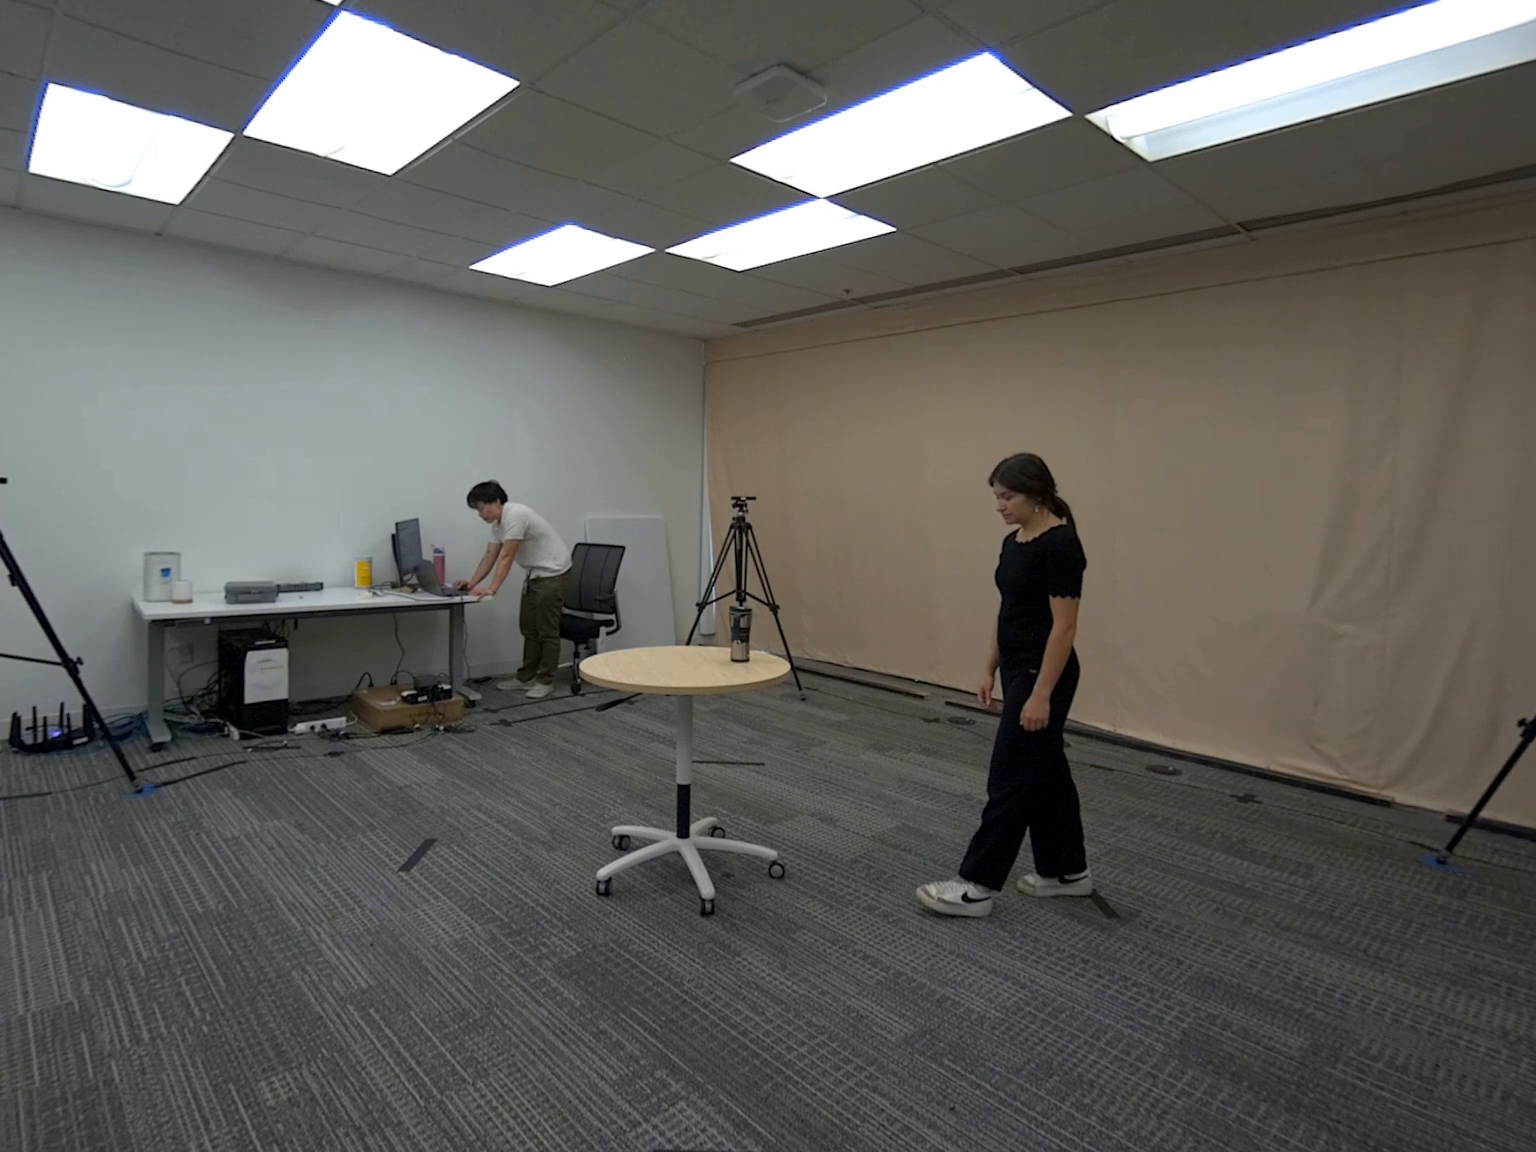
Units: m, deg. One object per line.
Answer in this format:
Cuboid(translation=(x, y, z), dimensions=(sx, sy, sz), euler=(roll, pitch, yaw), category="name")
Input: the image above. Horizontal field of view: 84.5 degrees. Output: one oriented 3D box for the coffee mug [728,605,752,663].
Cuboid(translation=(-0.121, 0.219, 3.123), dimensions=(0.119, 0.202, 0.090), euler=(1, 5, -45), category="coffee mug")
